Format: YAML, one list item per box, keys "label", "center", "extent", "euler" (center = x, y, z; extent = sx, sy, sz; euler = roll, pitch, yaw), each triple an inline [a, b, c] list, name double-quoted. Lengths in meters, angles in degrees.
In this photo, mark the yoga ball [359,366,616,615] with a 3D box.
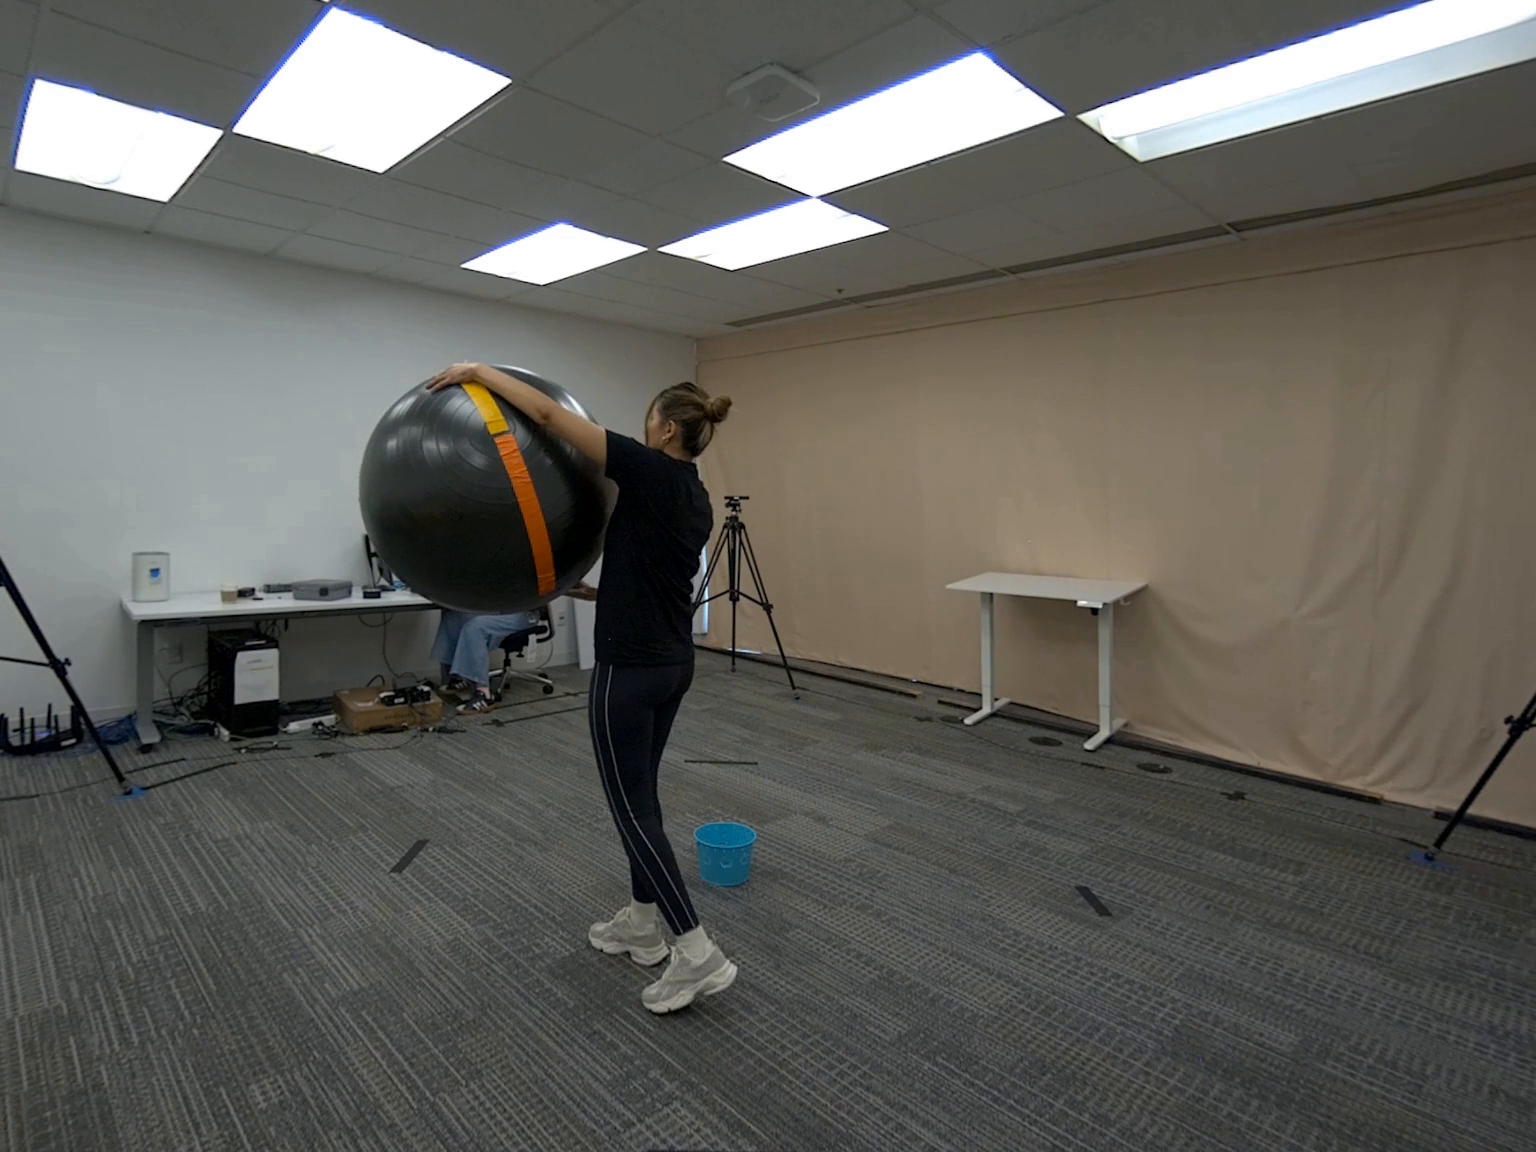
- label: "yoga ball"
  center: [-0.843, -0.260, 2.552]
  extent: [0.757, 0.756, 0.761]
  euler: [1, 4, -1]
